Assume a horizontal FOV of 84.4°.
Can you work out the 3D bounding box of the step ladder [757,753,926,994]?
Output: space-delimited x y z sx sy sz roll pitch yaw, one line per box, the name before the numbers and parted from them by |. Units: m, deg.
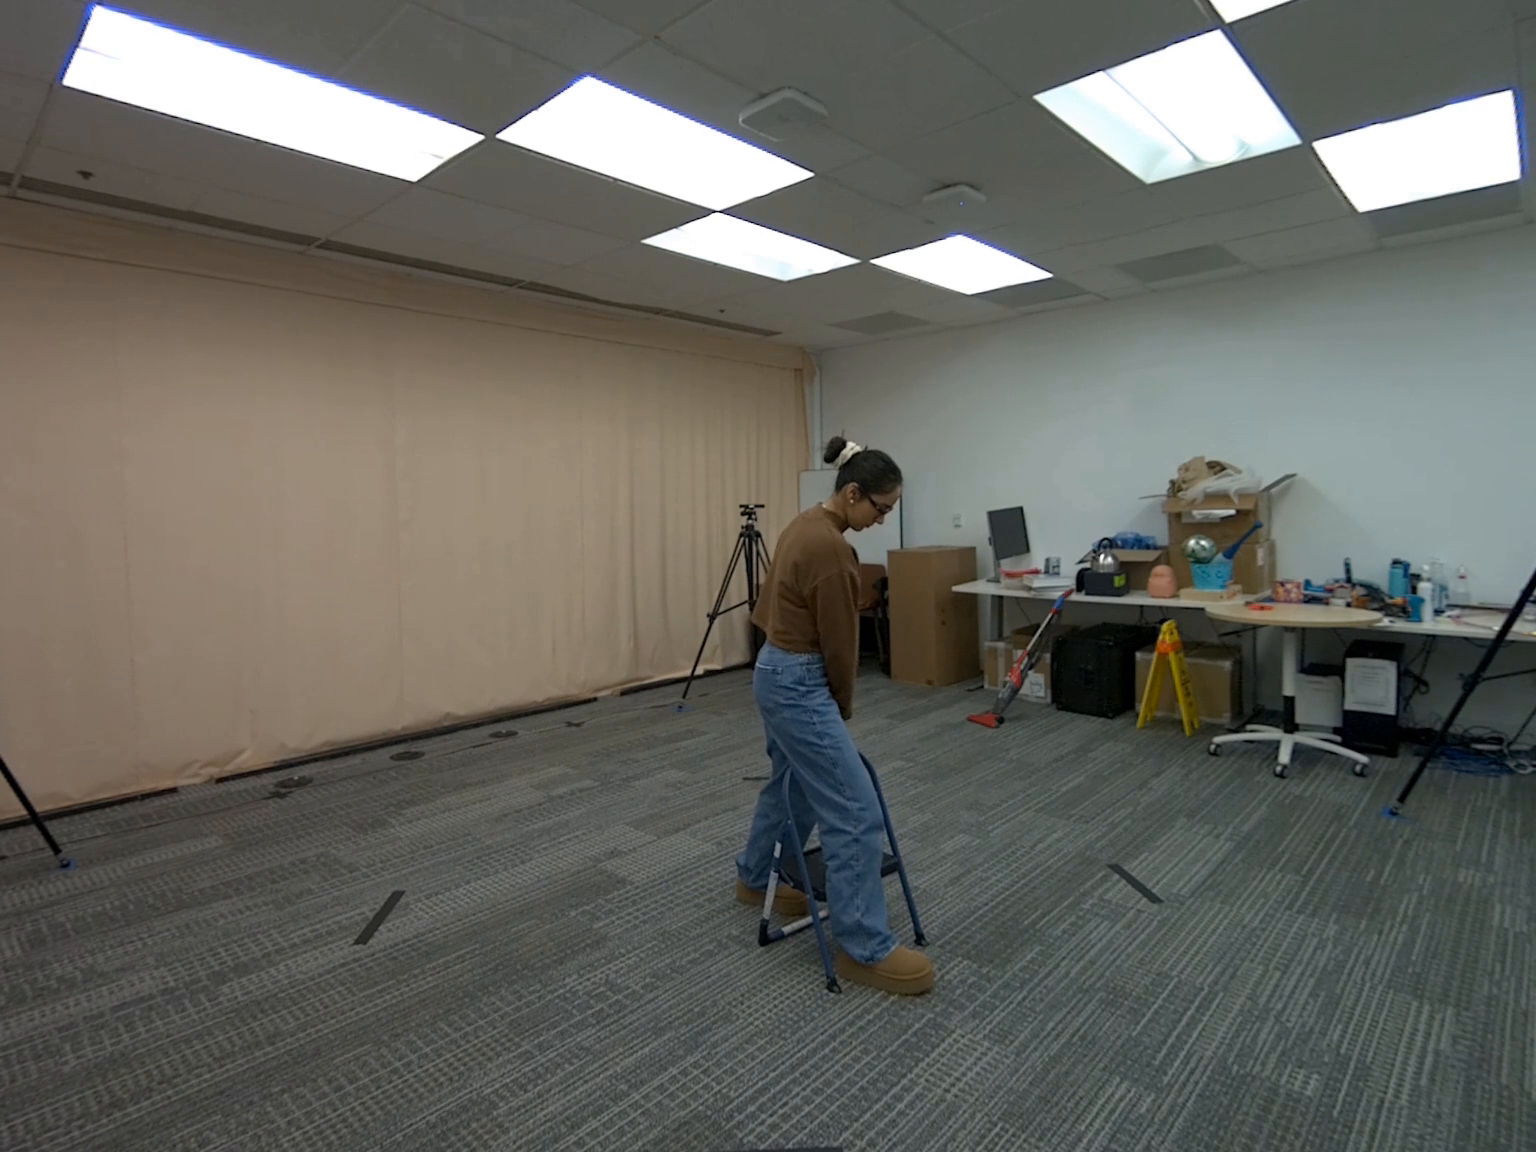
step ladder | 0.233 0.859 2.644 0.418 0.605 0.360 -4 4 -40
